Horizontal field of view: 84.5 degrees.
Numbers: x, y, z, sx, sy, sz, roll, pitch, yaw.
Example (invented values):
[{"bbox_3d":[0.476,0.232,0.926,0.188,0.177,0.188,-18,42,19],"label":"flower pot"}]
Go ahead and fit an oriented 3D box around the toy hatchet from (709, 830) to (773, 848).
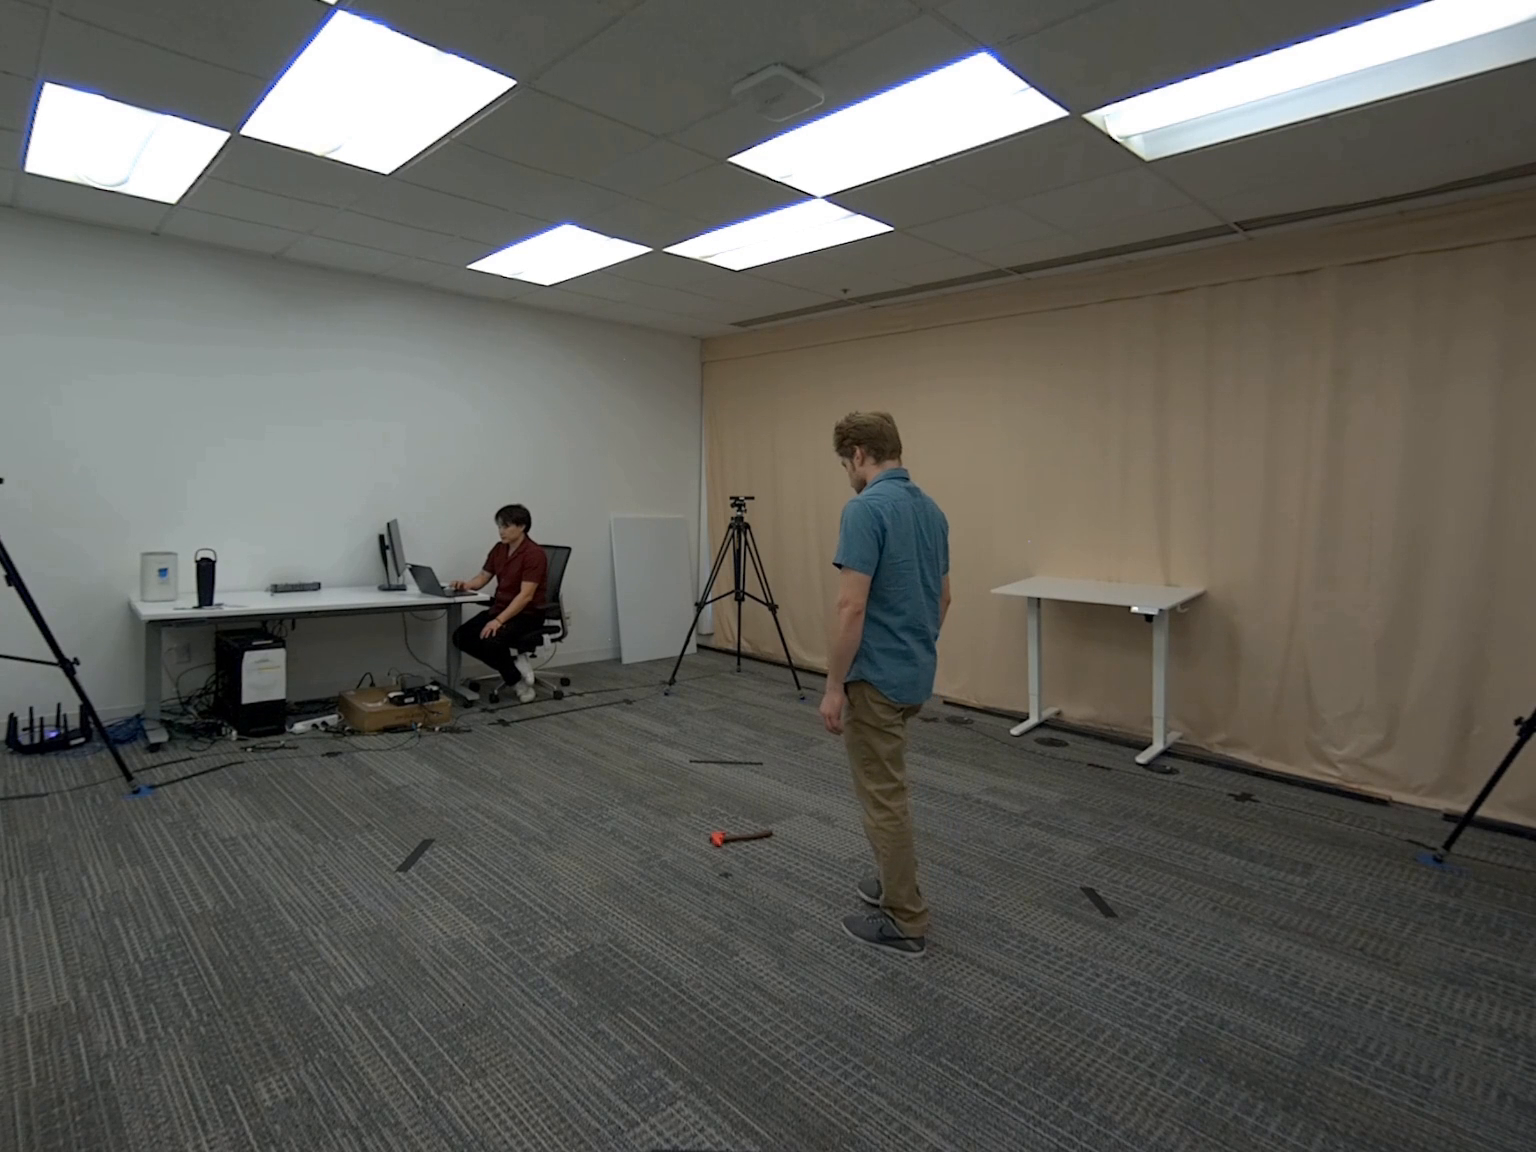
[{"bbox_3d":[-0.132,1.064,3.454,0.264,0.029,0.134,0,2,-34],"label":"toy hatchet"}]
